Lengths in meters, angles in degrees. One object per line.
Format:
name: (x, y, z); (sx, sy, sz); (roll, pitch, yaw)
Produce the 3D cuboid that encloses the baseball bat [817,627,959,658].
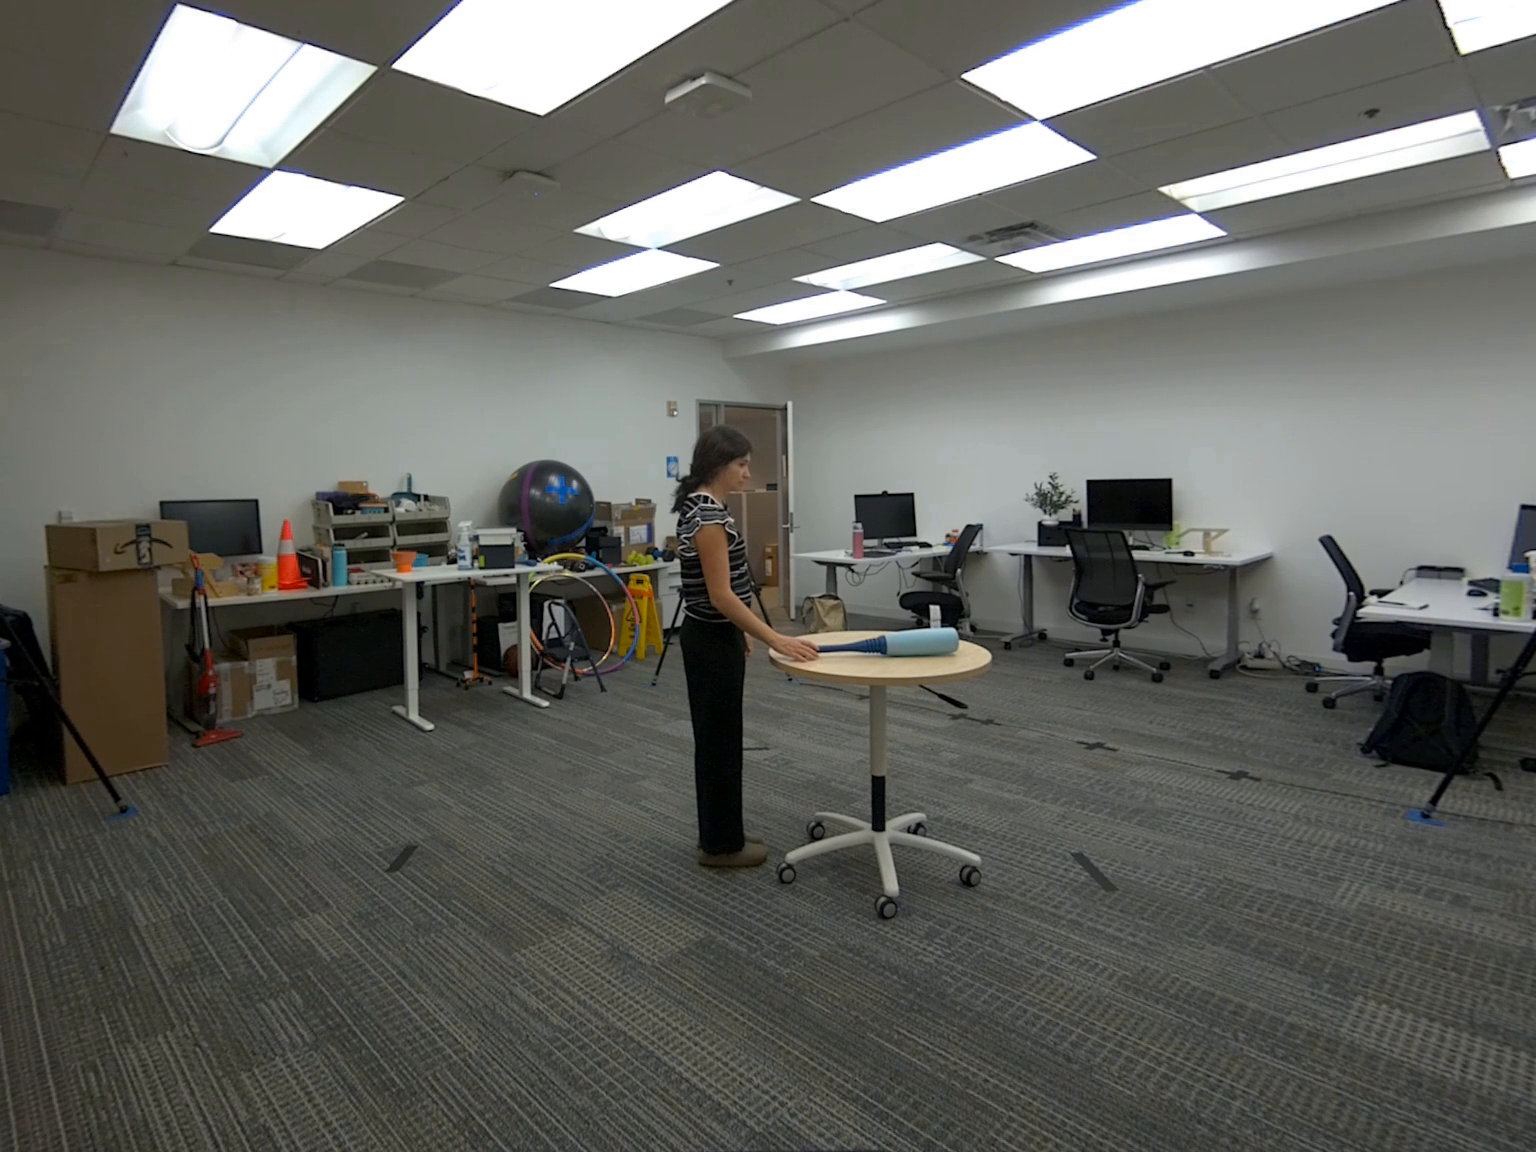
baseball bat: (0.375, 0.236, 2.925); (0.542, 0.089, 0.089); (-4, 5, -3)
